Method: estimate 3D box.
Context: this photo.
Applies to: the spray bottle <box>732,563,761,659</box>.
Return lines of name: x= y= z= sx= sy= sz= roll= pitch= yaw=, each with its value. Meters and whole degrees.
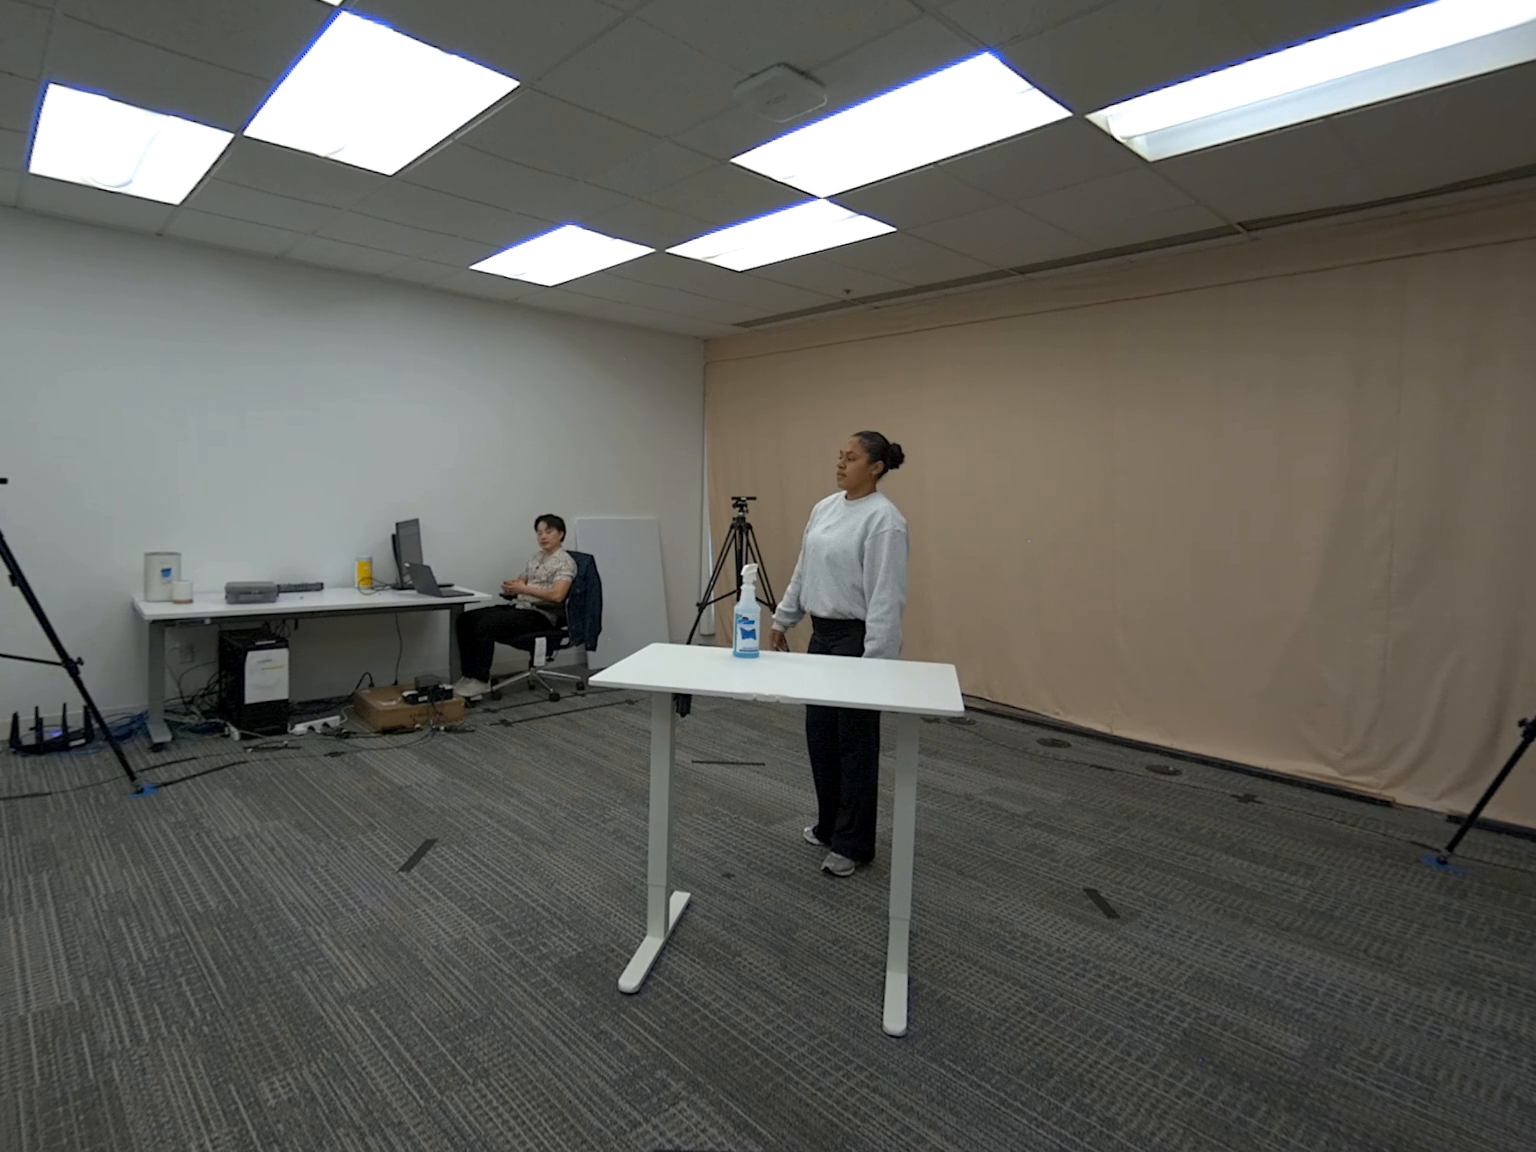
spray bottle: x=-0.071 y=0.116 z=2.705 sx=0.088 sy=0.297 sz=0.089 roll=0 pitch=4 yaw=-35
